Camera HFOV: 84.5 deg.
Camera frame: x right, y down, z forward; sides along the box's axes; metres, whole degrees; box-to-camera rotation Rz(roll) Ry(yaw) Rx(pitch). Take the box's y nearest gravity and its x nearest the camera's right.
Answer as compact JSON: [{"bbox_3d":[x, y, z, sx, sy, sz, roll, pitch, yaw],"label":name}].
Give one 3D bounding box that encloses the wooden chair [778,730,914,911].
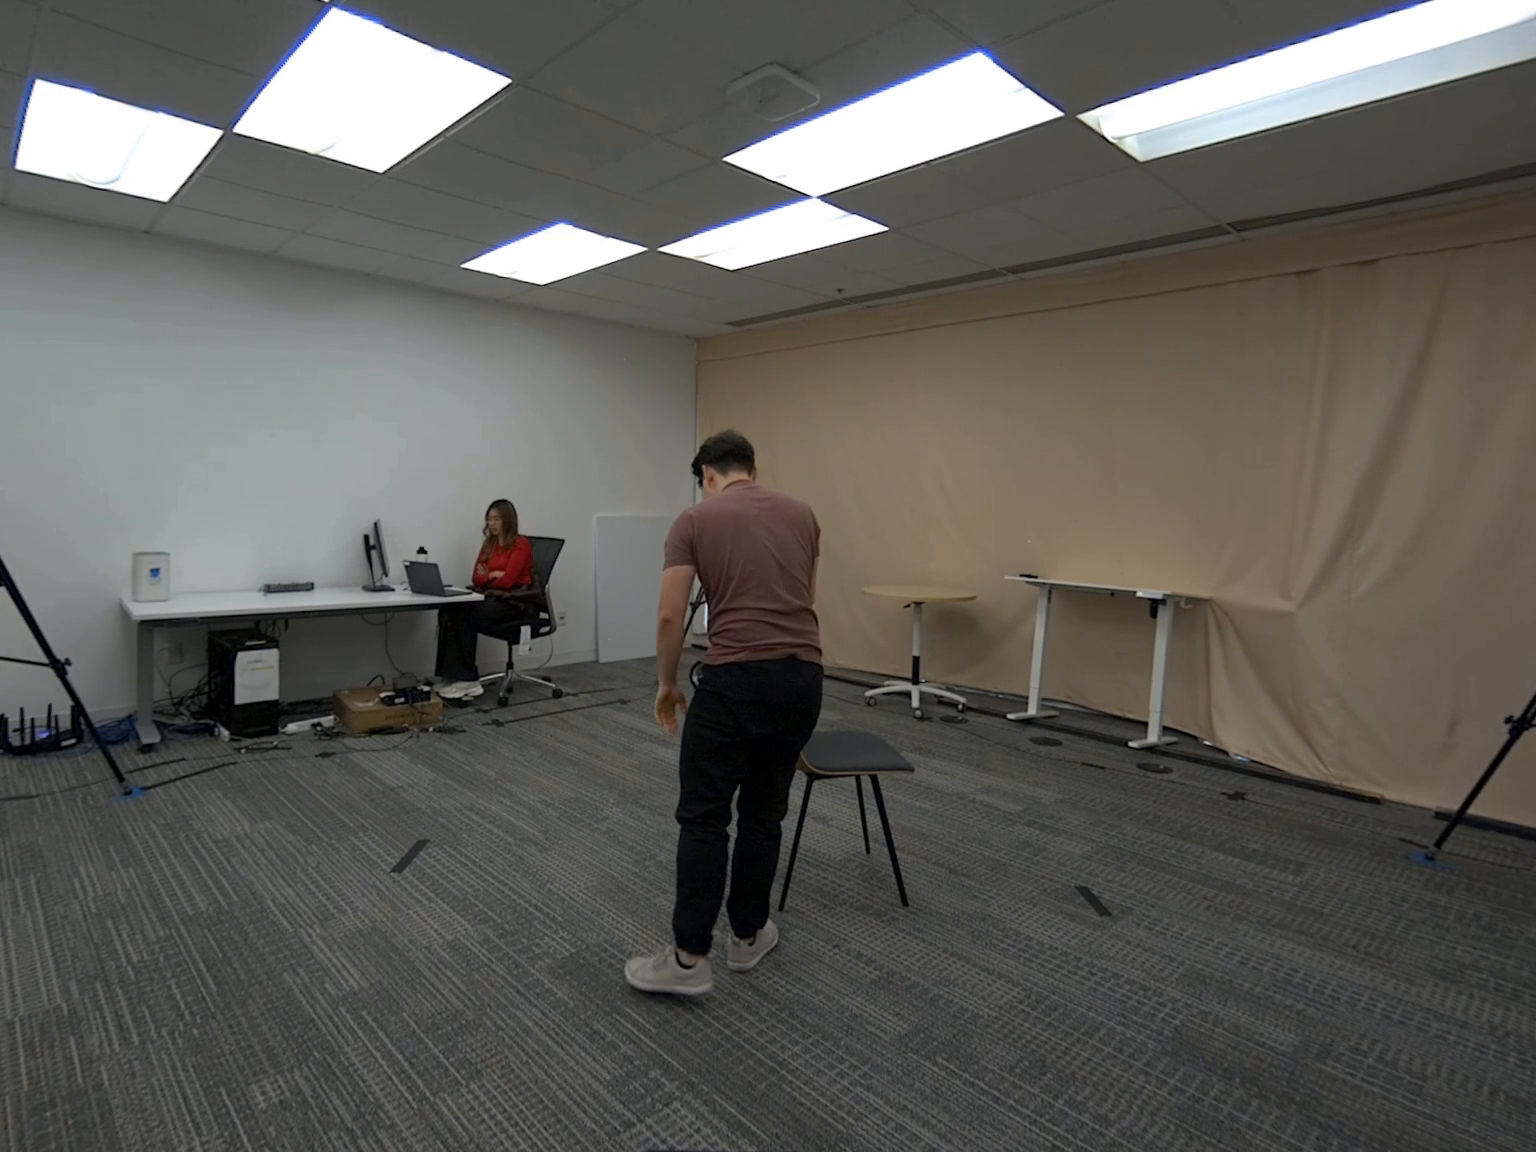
[{"bbox_3d":[0.236,0.691,3.060,0.520,0.875,0.482,-3,3,-9],"label":"wooden chair"}]
